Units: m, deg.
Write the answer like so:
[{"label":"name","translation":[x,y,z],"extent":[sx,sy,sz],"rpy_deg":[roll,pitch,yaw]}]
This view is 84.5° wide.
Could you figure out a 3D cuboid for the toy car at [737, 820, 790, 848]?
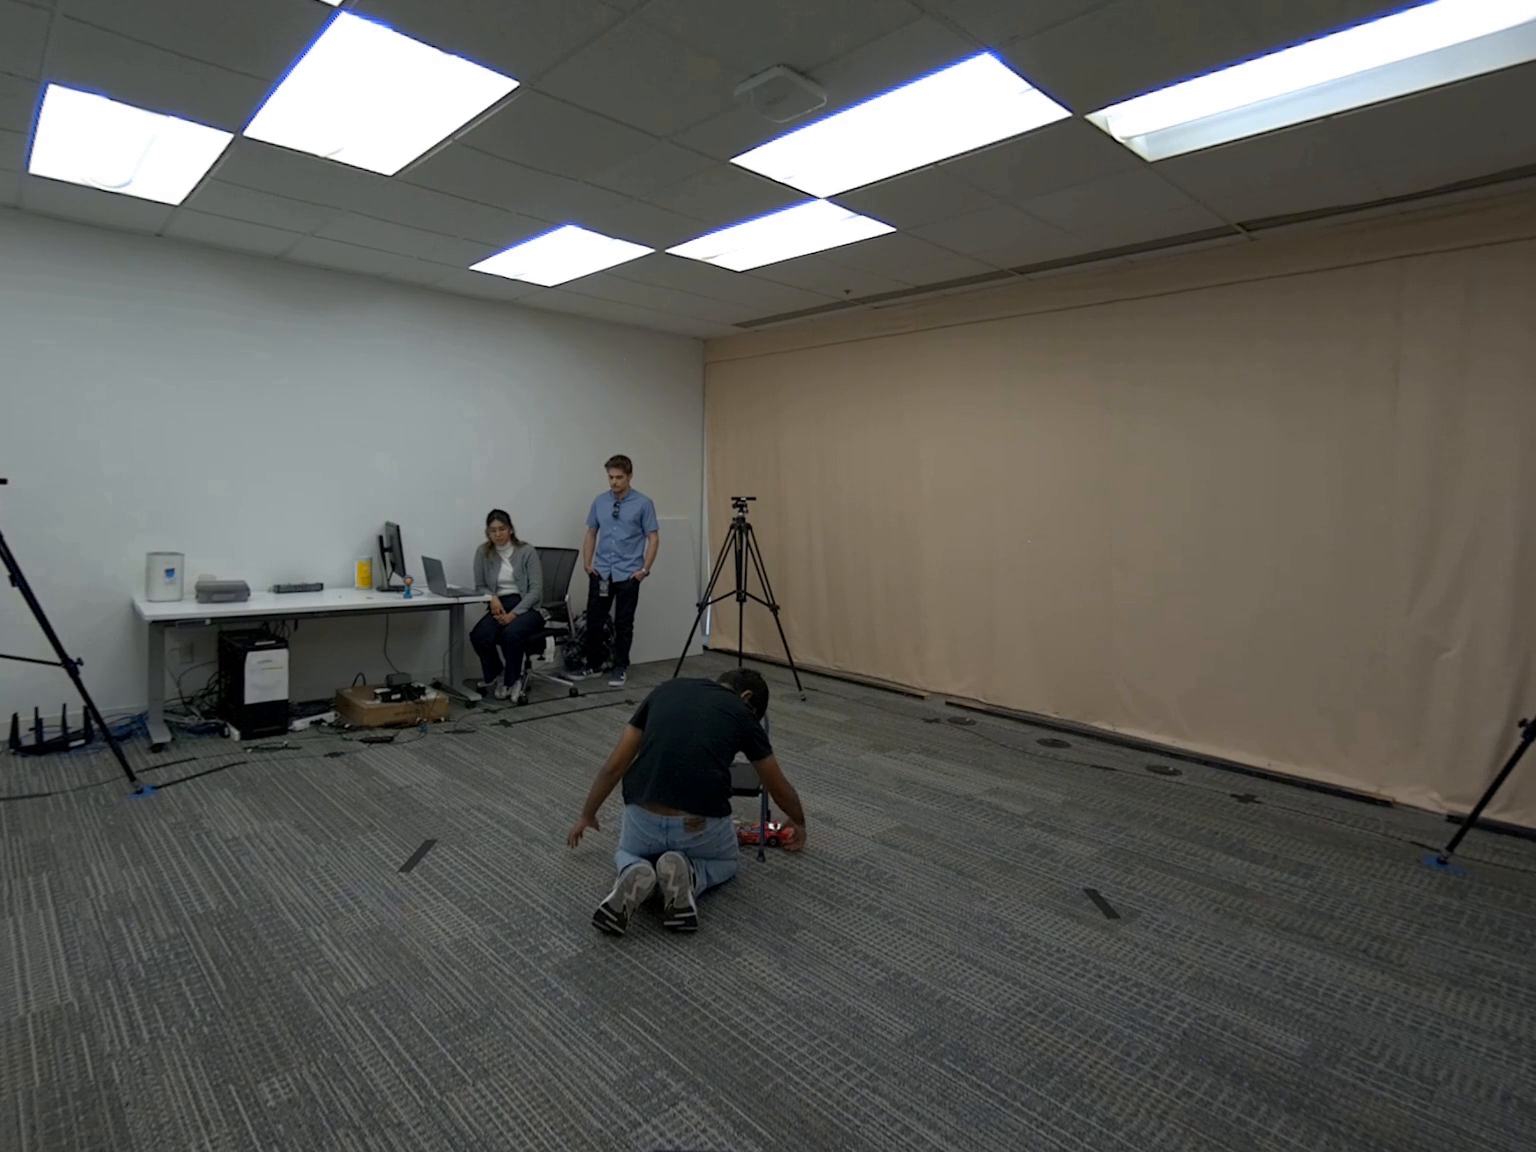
[{"label":"toy car","translation":[-0.035,1.053,3.428],"extent":[0.254,0.083,0.131],"rpy_deg":[-7,6,-2]}]
